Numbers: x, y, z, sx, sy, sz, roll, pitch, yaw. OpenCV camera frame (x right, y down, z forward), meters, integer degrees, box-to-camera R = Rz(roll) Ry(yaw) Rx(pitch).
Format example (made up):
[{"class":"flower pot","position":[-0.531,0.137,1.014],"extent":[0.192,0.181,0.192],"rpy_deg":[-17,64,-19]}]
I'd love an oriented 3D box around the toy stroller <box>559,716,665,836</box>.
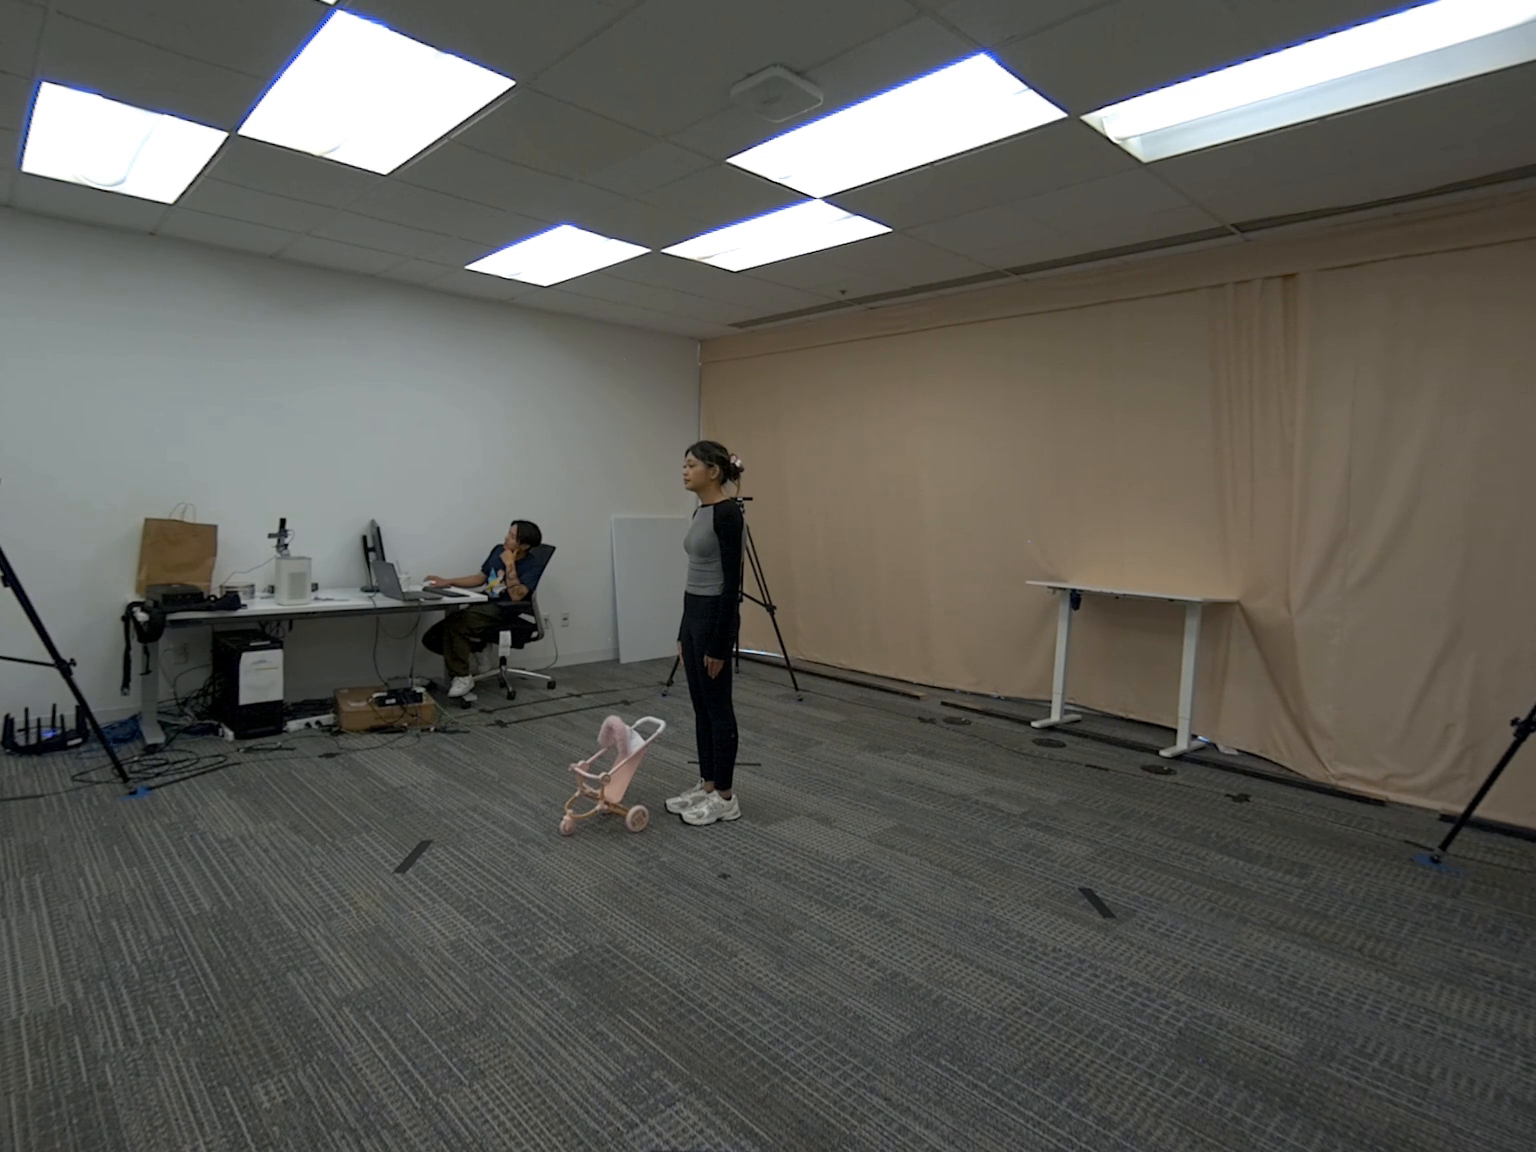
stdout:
[{"class":"toy stroller","position":[-0.681,0.834,3.554],"extent":[0.332,0.537,0.288],"rpy_deg":[19,-8,-33]}]
